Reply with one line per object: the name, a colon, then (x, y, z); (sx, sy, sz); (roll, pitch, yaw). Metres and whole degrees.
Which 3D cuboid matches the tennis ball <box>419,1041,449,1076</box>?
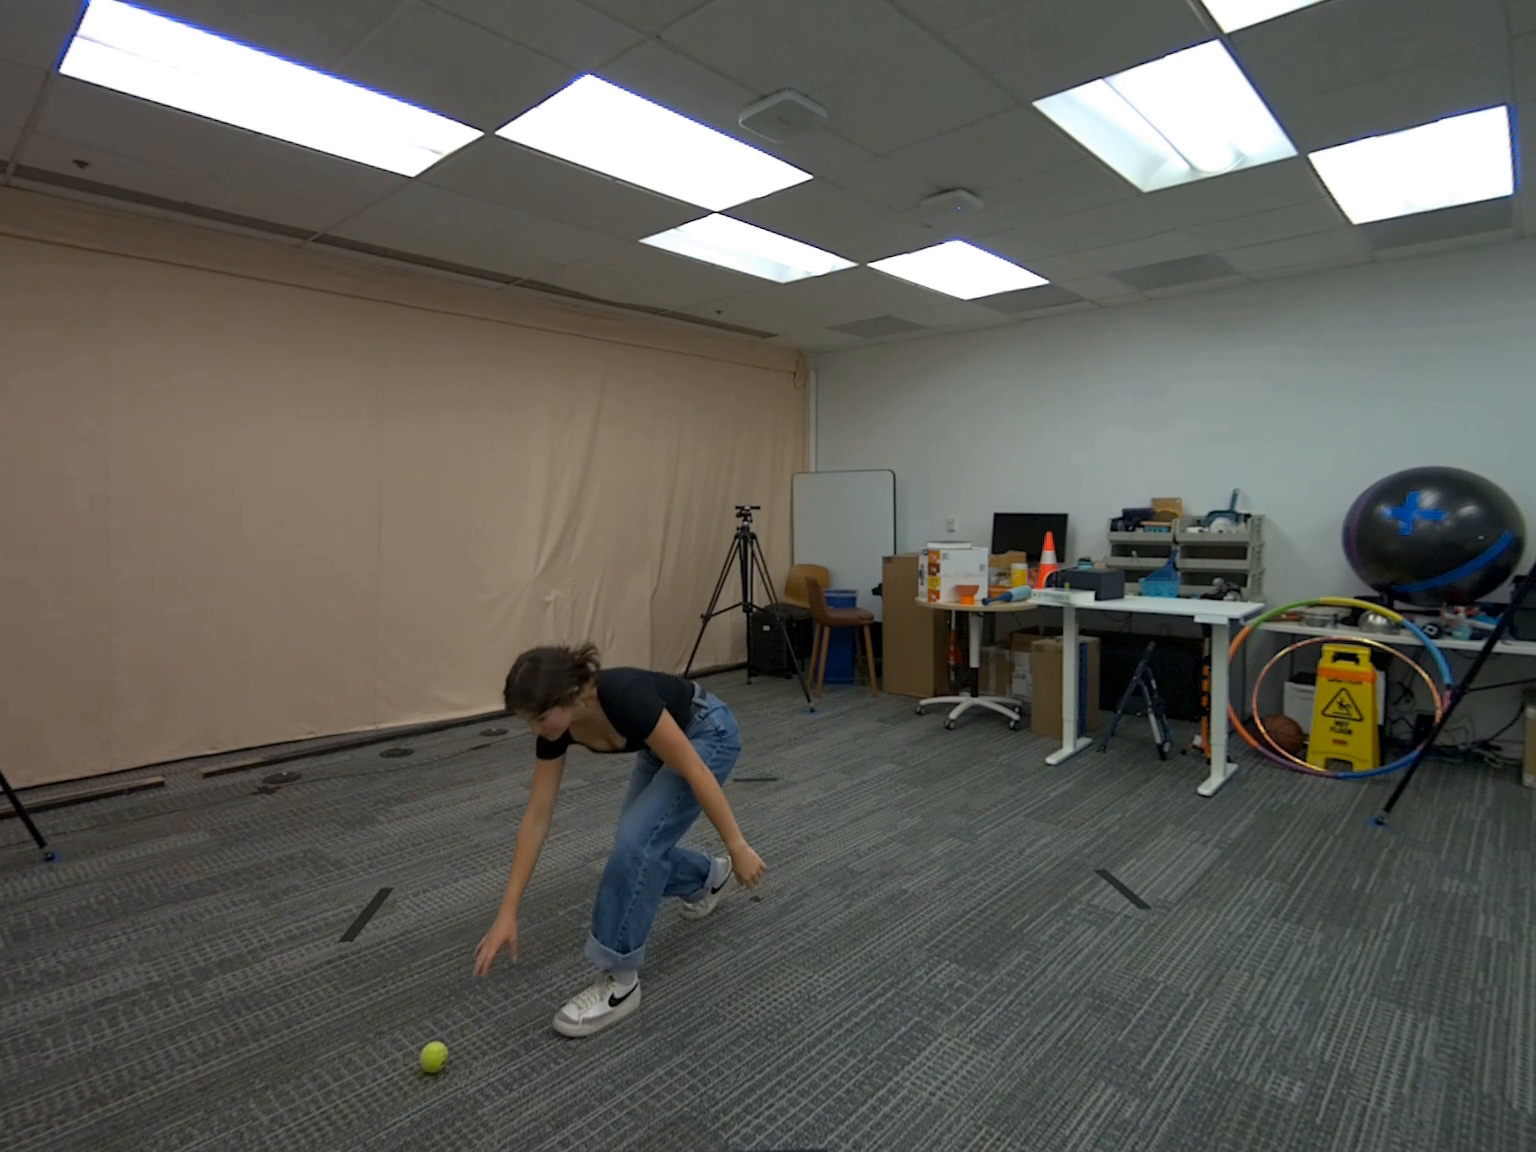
tennis ball: (-0.820, 1.181, 2.099); (0.066, 0.066, 0.067); (0, 4, -2)
